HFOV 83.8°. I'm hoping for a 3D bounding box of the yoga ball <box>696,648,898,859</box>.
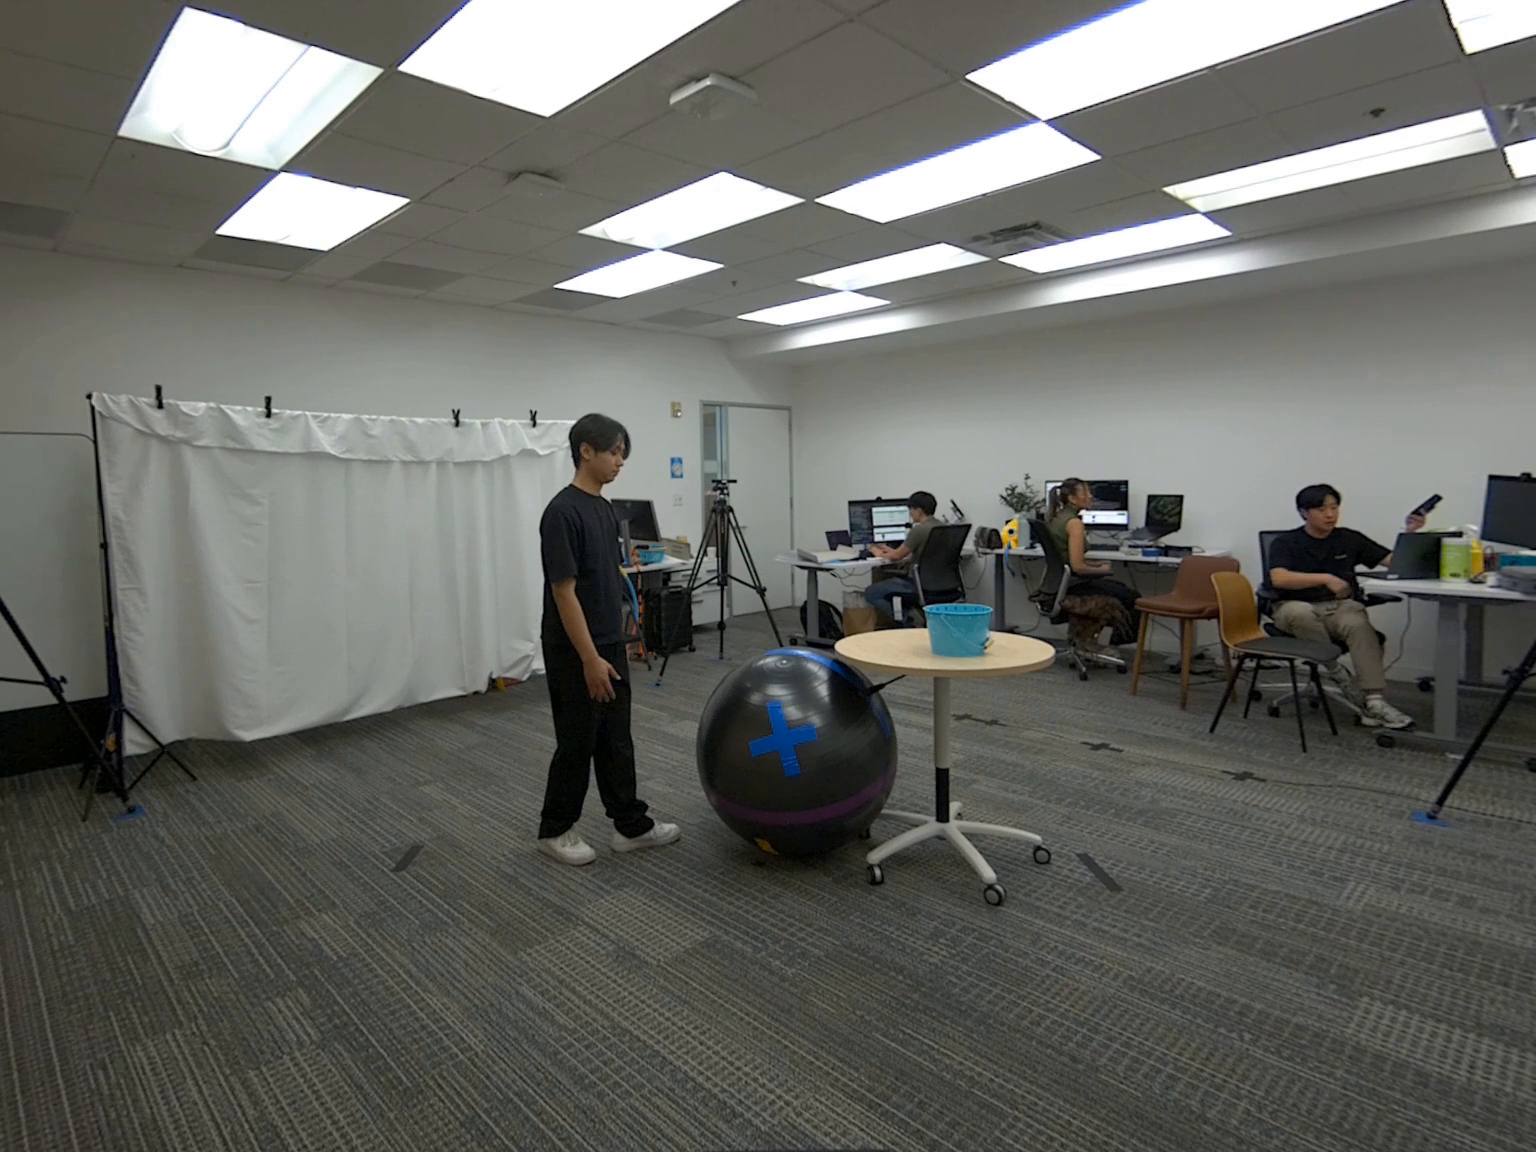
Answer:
[{"bbox_3d":[0.112,0.658,3.230,0.757,0.755,0.762,-1,5,-2],"label":"yoga ball"}]
